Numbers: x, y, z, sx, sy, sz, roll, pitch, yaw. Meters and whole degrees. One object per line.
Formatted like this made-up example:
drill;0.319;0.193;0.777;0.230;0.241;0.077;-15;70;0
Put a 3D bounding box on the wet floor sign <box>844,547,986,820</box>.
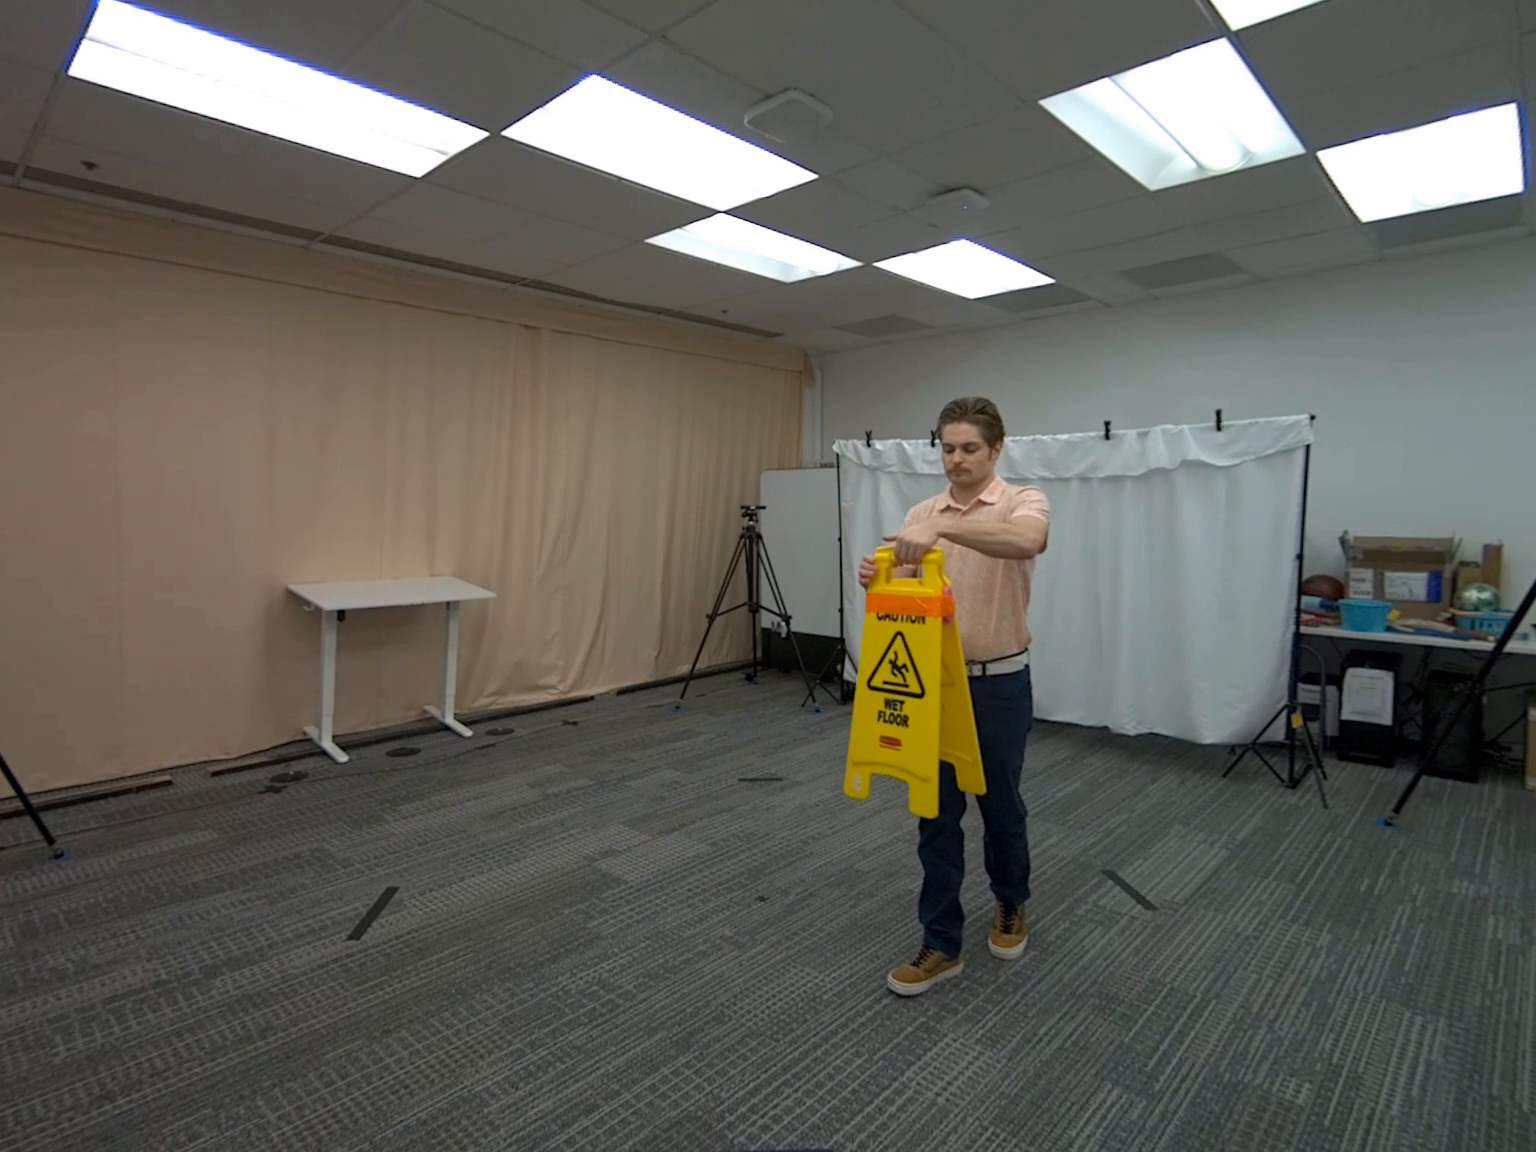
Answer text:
wet floor sign;0.382;0.254;2.190;0.291;0.645;0.281;1;4;45
